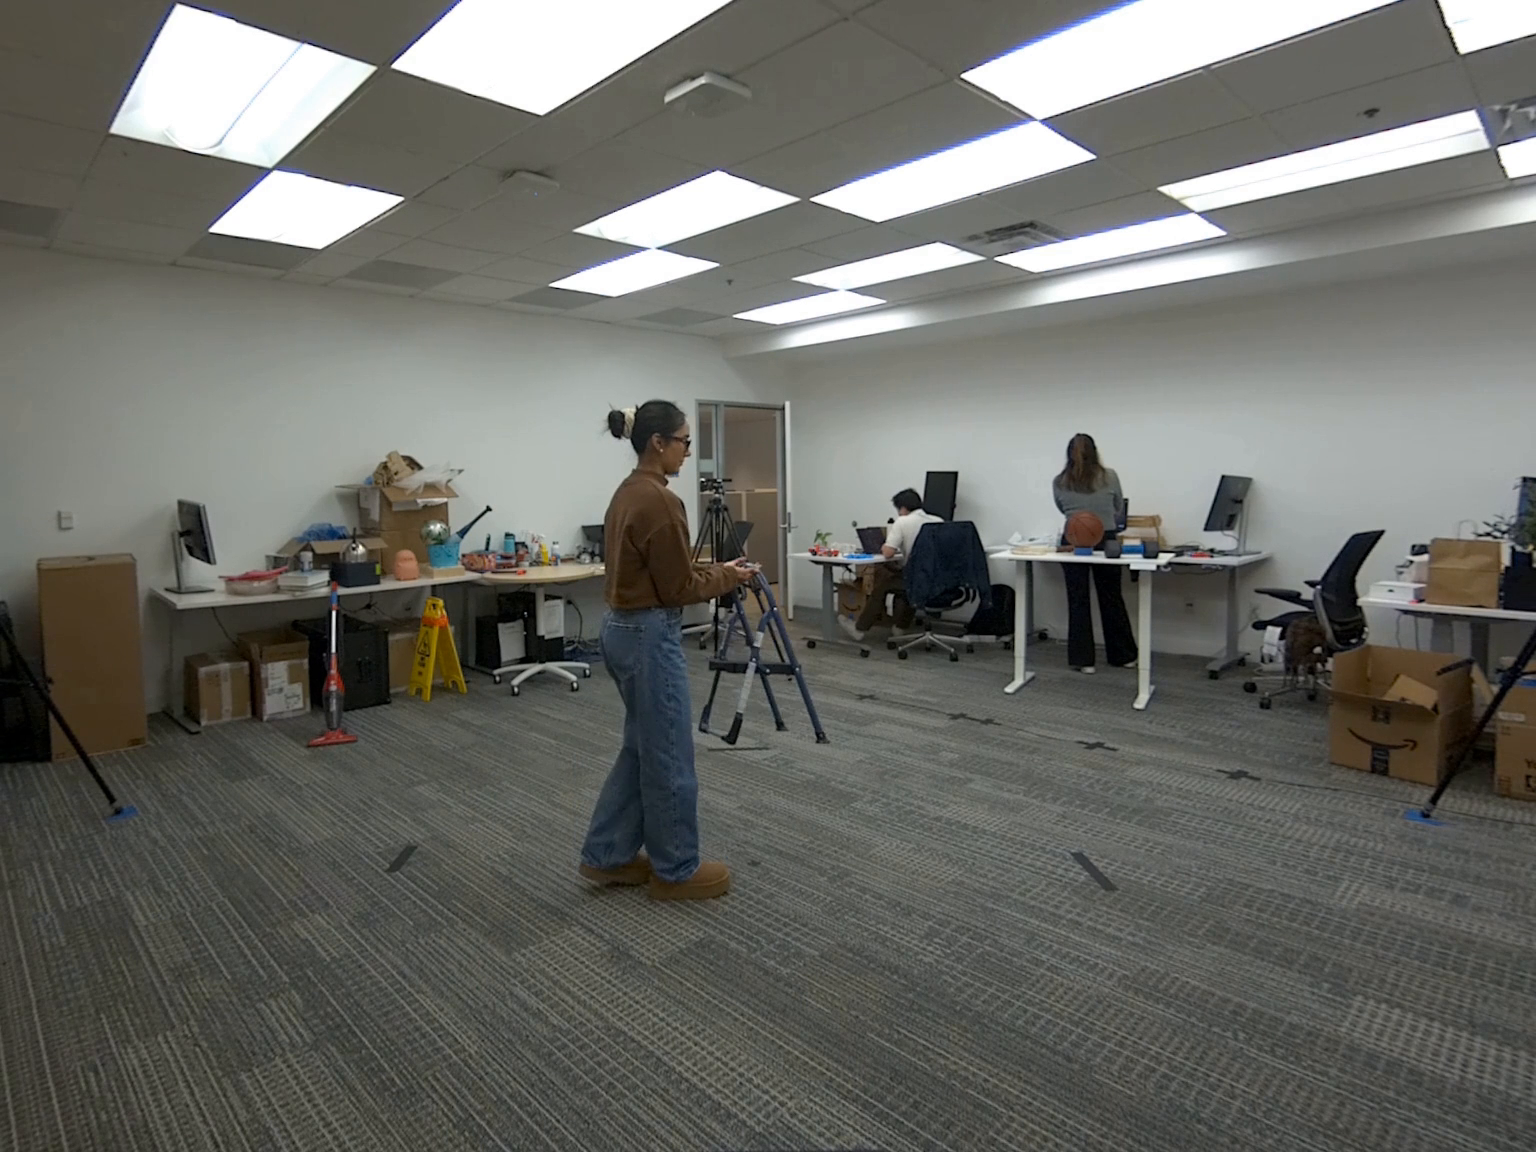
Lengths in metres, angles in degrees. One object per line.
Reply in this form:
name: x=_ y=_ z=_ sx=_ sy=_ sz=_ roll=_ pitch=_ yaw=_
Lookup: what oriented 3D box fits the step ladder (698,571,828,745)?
step ladder: x=-0.027 y=0.265 z=3.037 sx=0.343 sy=0.610 sz=0.435 roll=3 pitch=-8 yaw=-19
